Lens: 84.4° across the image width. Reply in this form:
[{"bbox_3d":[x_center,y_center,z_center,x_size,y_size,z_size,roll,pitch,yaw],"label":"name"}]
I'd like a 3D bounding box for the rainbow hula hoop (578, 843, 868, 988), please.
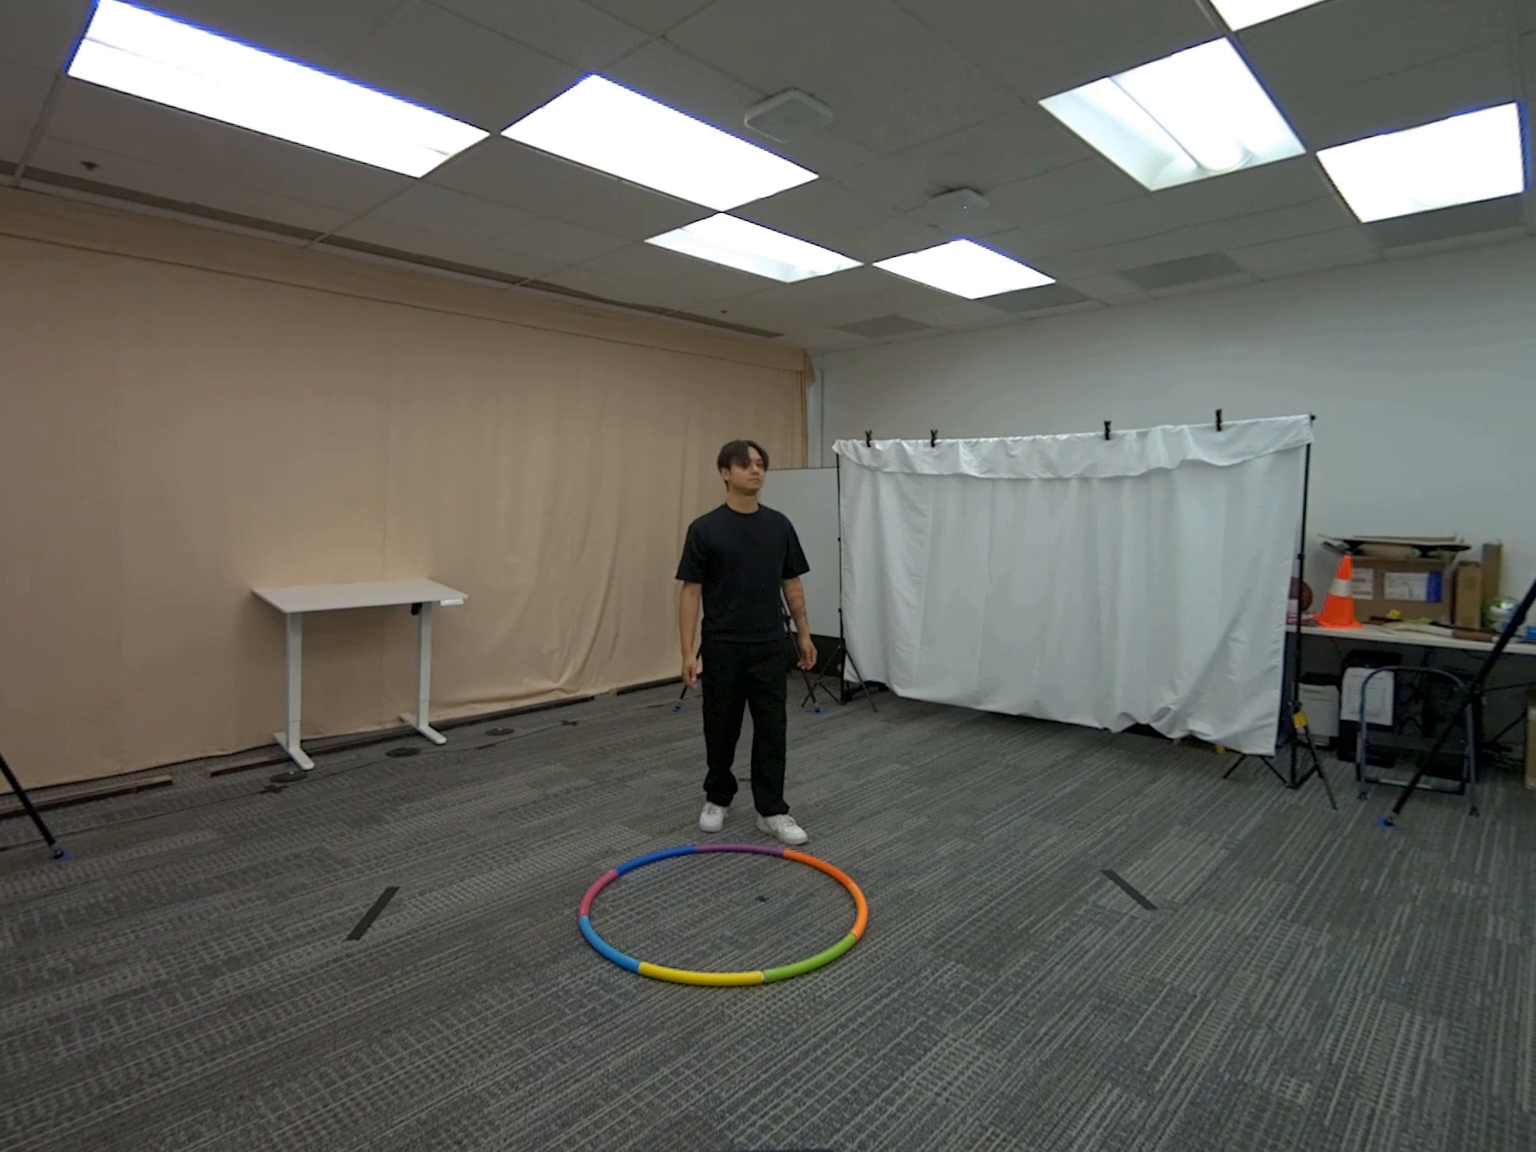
[{"bbox_3d":[-0.150,1.120,2.917,0.978,0.035,0.982,0,5,-2],"label":"rainbow hula hoop"}]
